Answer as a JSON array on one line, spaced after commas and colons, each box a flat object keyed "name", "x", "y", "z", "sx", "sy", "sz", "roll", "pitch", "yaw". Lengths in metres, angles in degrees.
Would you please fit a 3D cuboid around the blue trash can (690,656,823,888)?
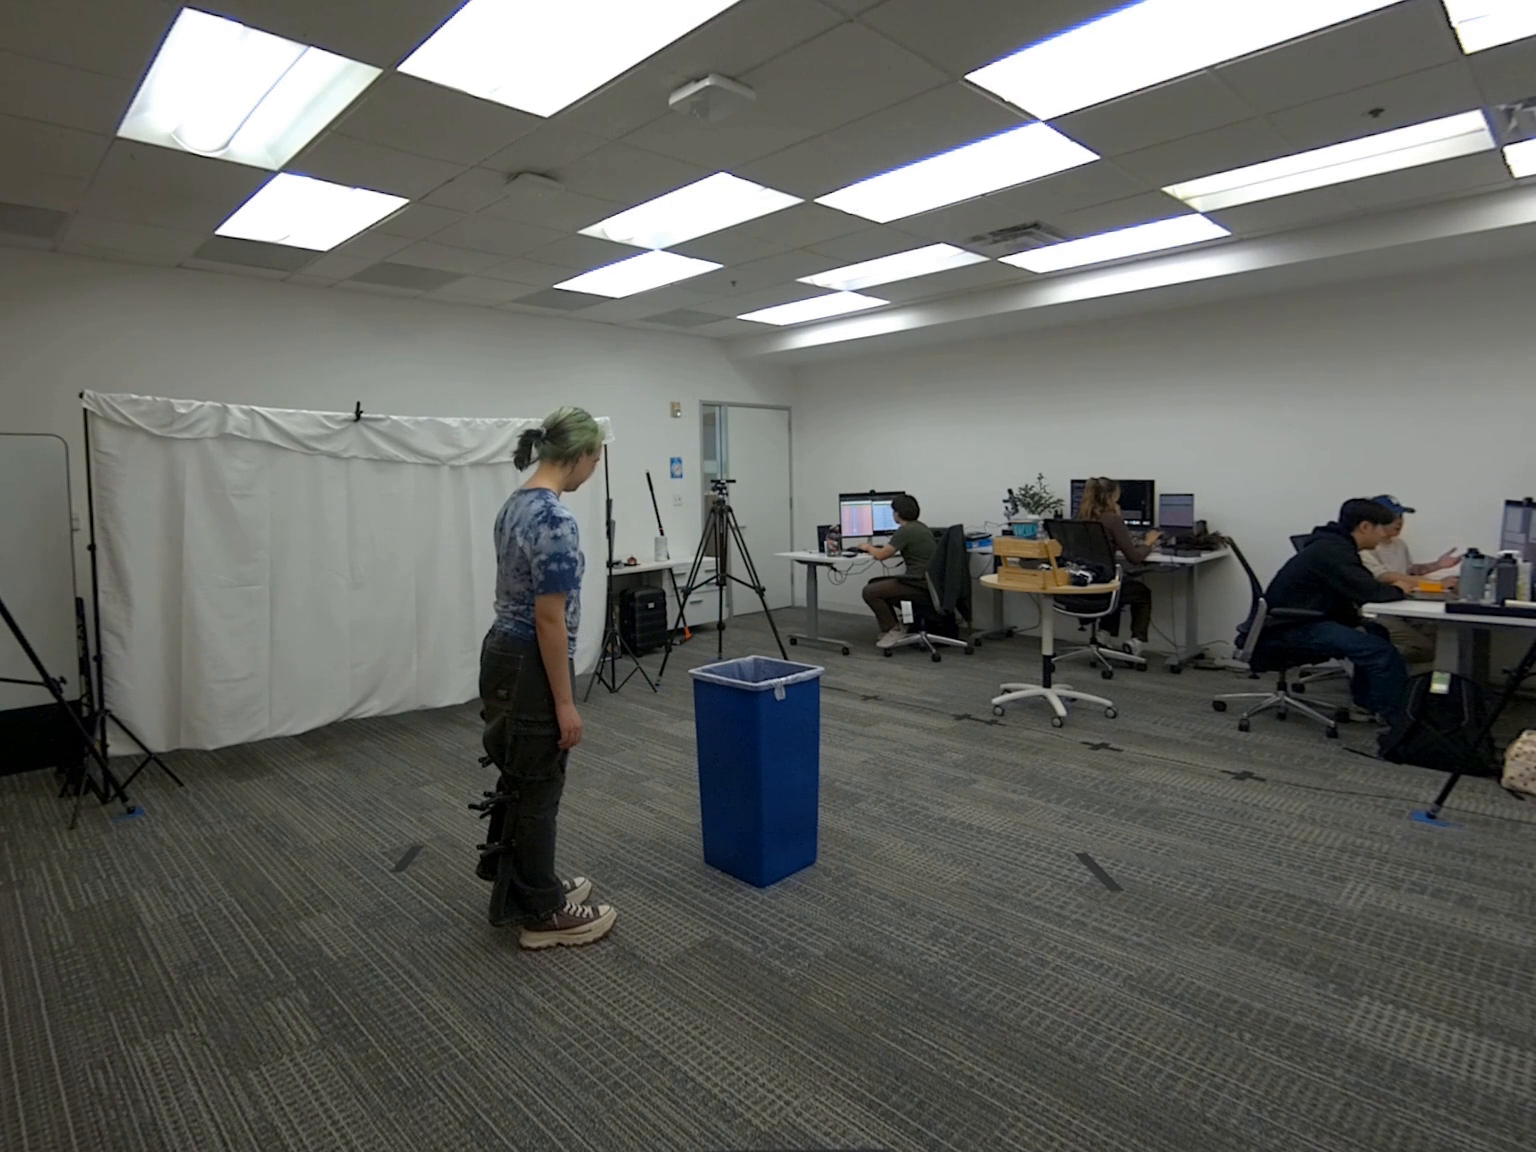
[{"name": "blue trash can", "x": -0.038, "y": 0.690, "z": 3.106, "sx": 0.368, "sy": 0.711, "sz": 0.385, "roll": -4, "pitch": 5, "yaw": -45}]
